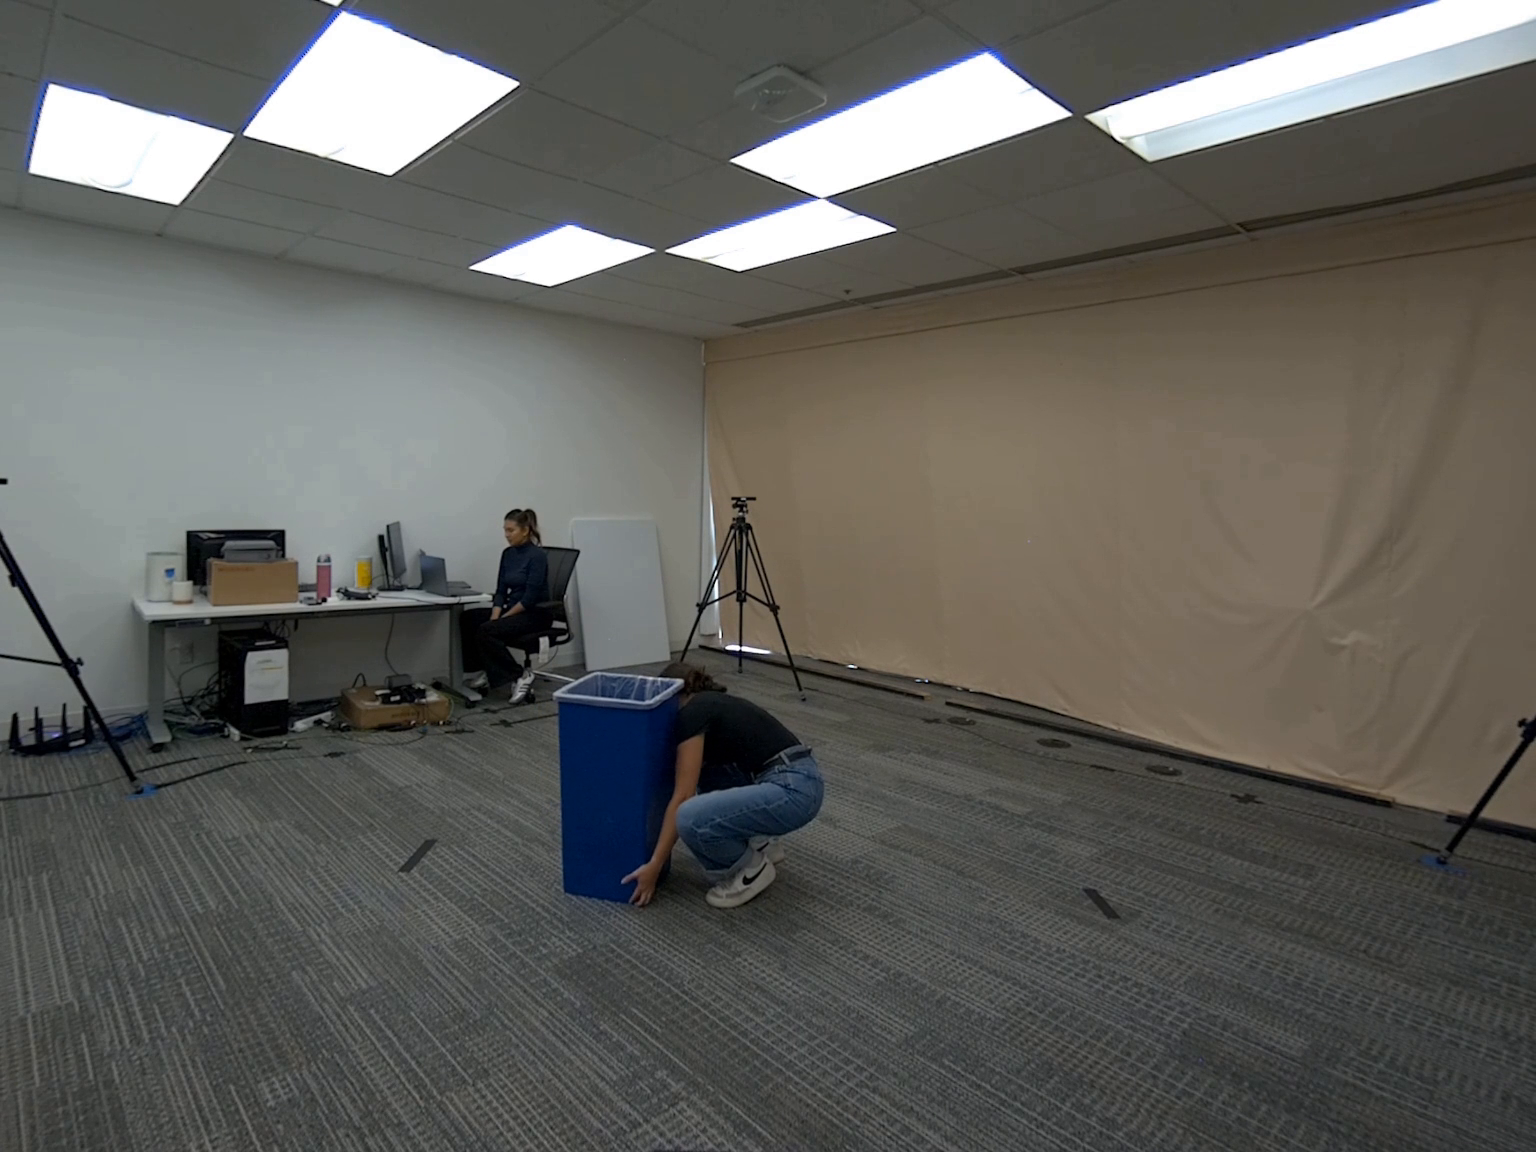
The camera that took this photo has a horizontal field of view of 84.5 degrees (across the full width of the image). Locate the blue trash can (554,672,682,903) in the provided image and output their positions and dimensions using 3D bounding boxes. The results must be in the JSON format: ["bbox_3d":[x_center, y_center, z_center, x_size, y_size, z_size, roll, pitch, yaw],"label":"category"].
[{"bbox_3d":[-0.536,0.744,3.009,0.383,0.712,0.370,3,4,15],"label":"blue trash can"}]
